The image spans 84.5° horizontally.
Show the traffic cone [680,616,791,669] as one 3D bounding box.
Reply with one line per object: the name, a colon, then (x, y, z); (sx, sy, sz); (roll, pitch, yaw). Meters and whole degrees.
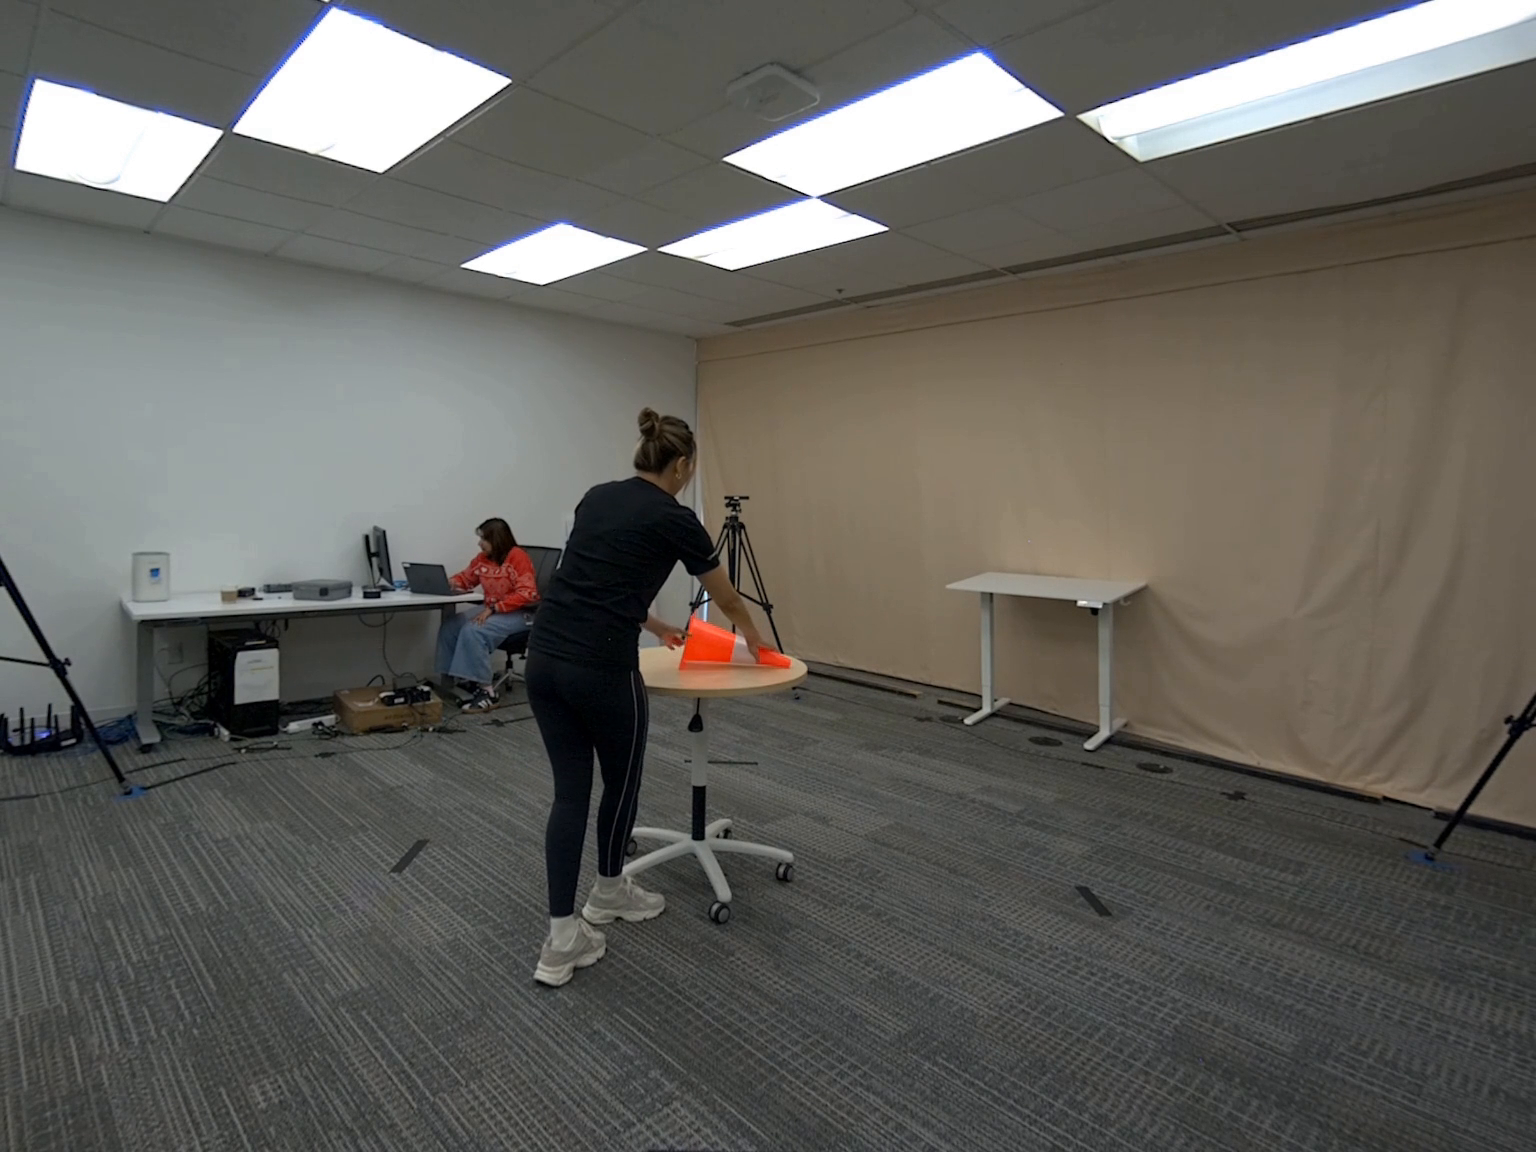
traffic cone: (-0.109, 0.270, 3.023); (0.384, 0.205, 0.203); (12, 1, 2)
